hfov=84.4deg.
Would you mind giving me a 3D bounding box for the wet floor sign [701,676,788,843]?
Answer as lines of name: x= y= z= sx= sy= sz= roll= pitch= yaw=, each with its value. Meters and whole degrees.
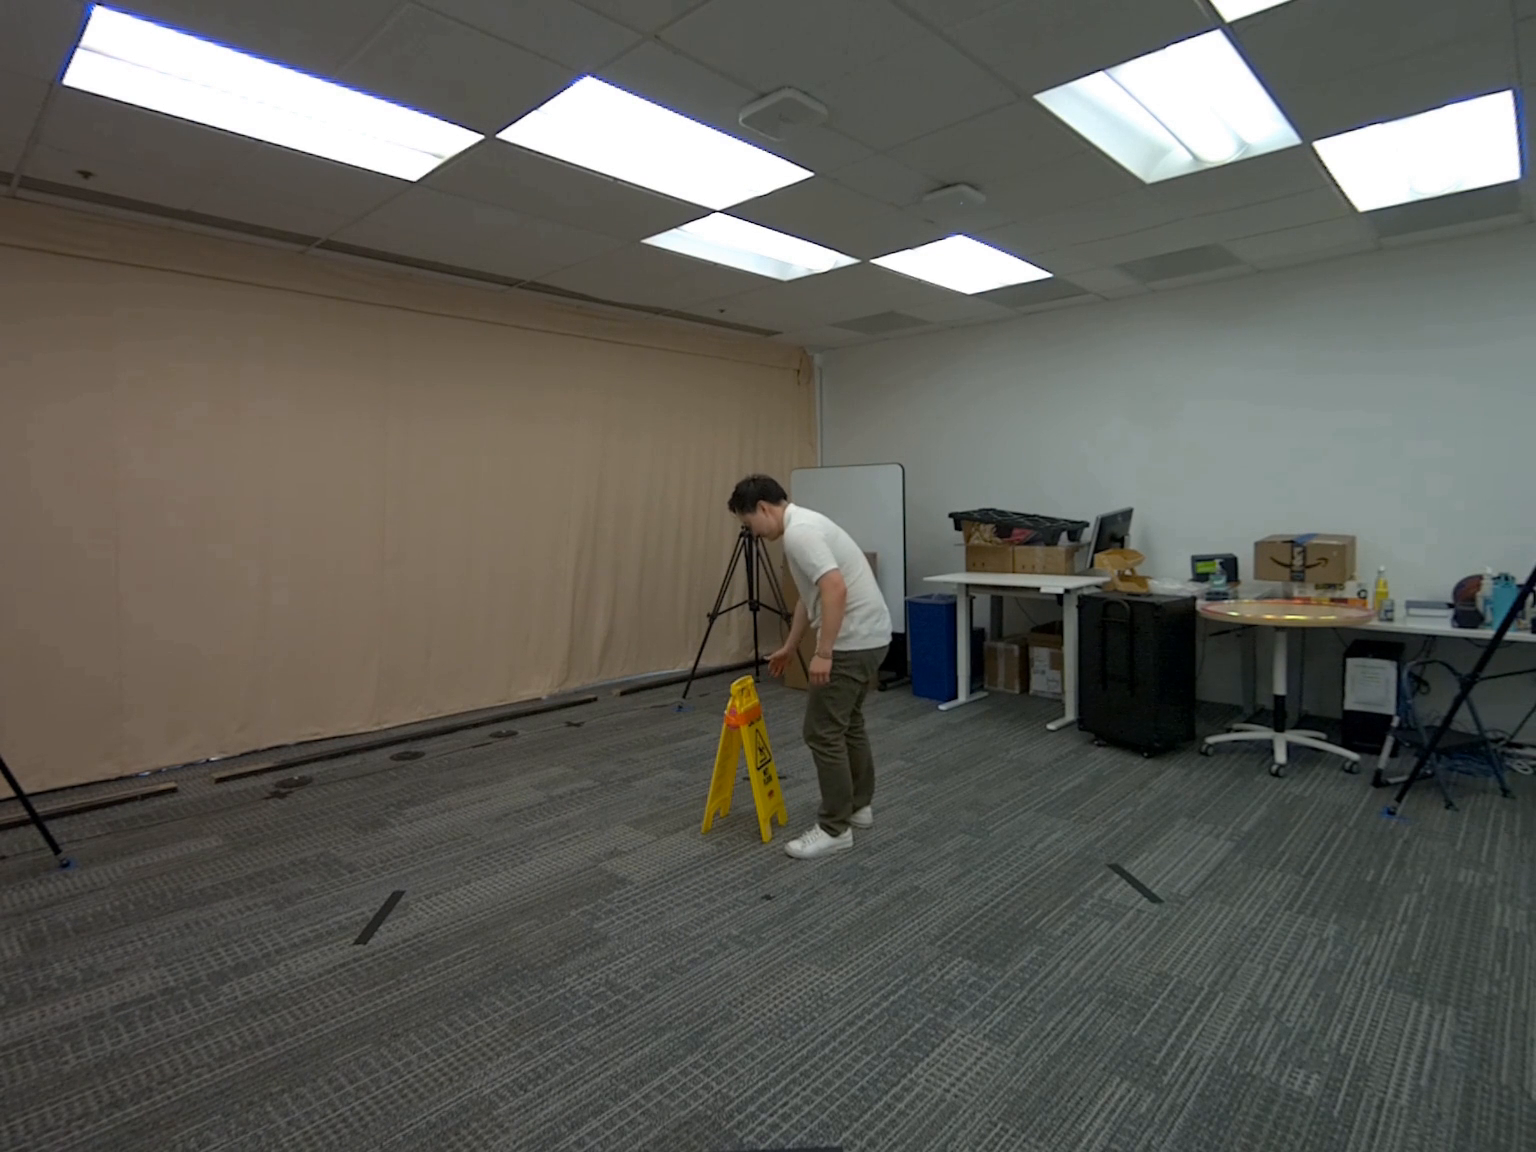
wet floor sign: x=-0.108 y=0.767 z=3.625 sx=0.296 sy=0.645 sz=0.276 roll=-1 pitch=1 yaw=20
